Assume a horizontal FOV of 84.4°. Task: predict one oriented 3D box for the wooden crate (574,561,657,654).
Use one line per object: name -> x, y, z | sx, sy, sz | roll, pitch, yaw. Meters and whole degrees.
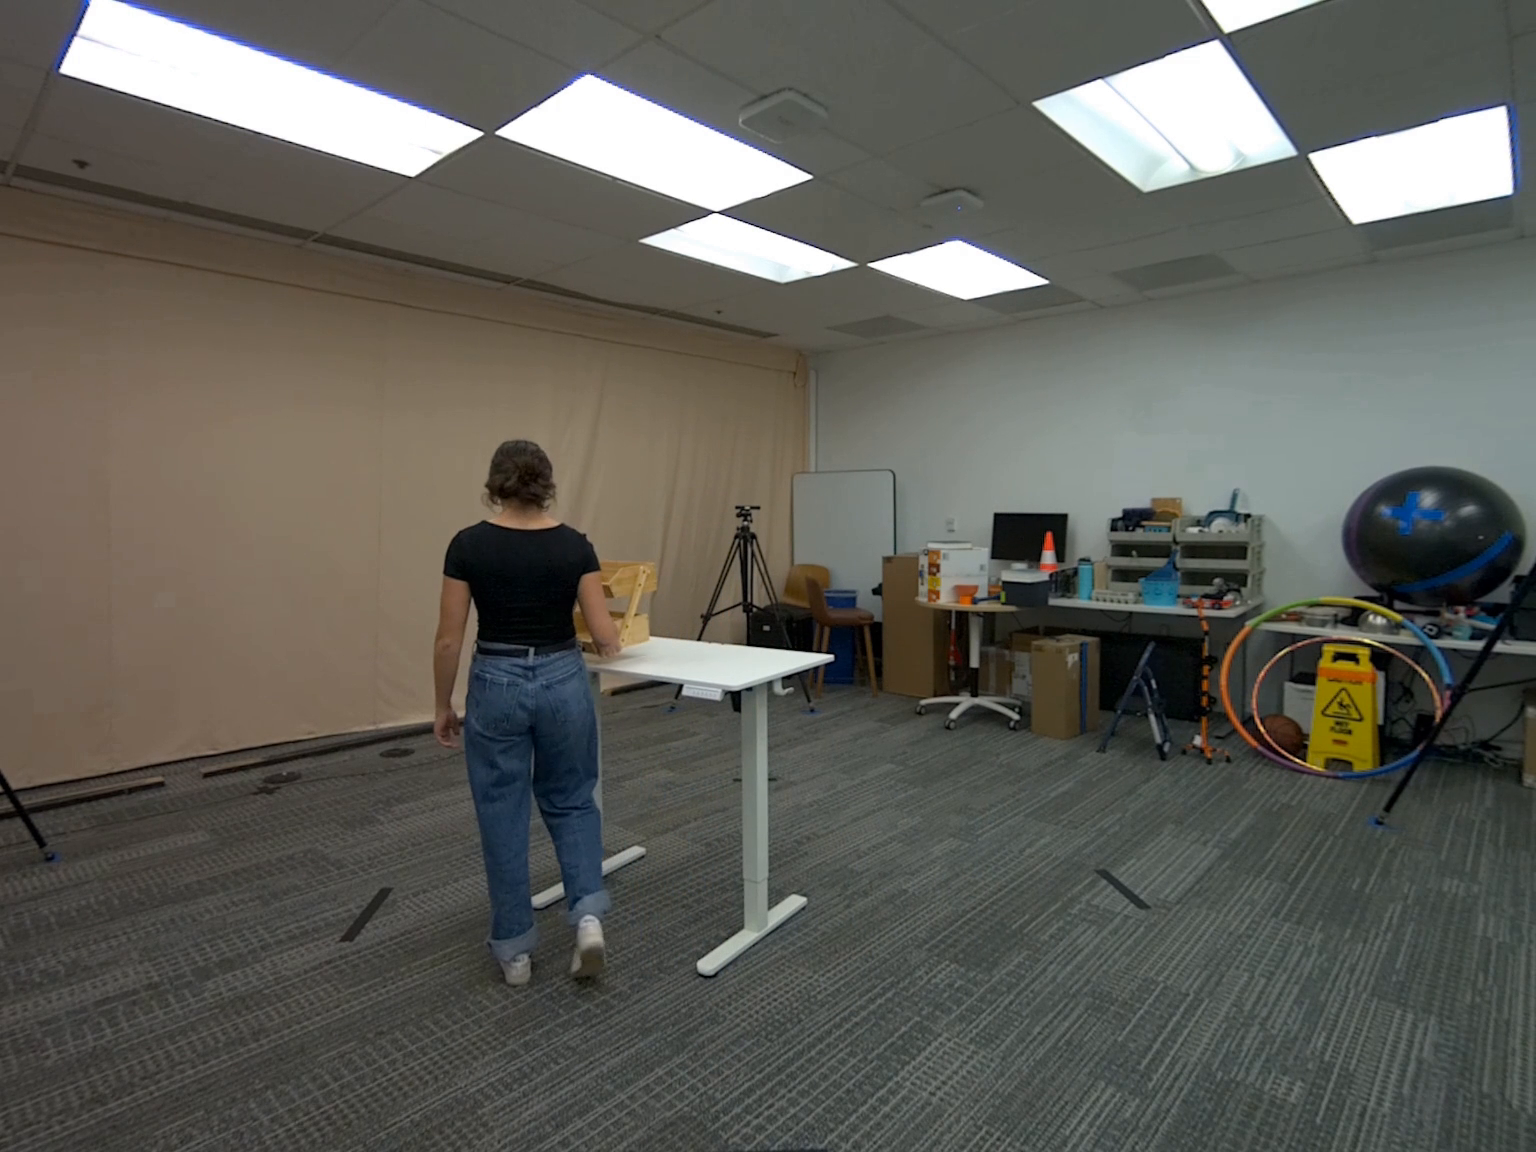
wooden crate -> -0.585, 0.097, 2.870 | 0.335, 0.272, 0.293 | 2, 9, 42
